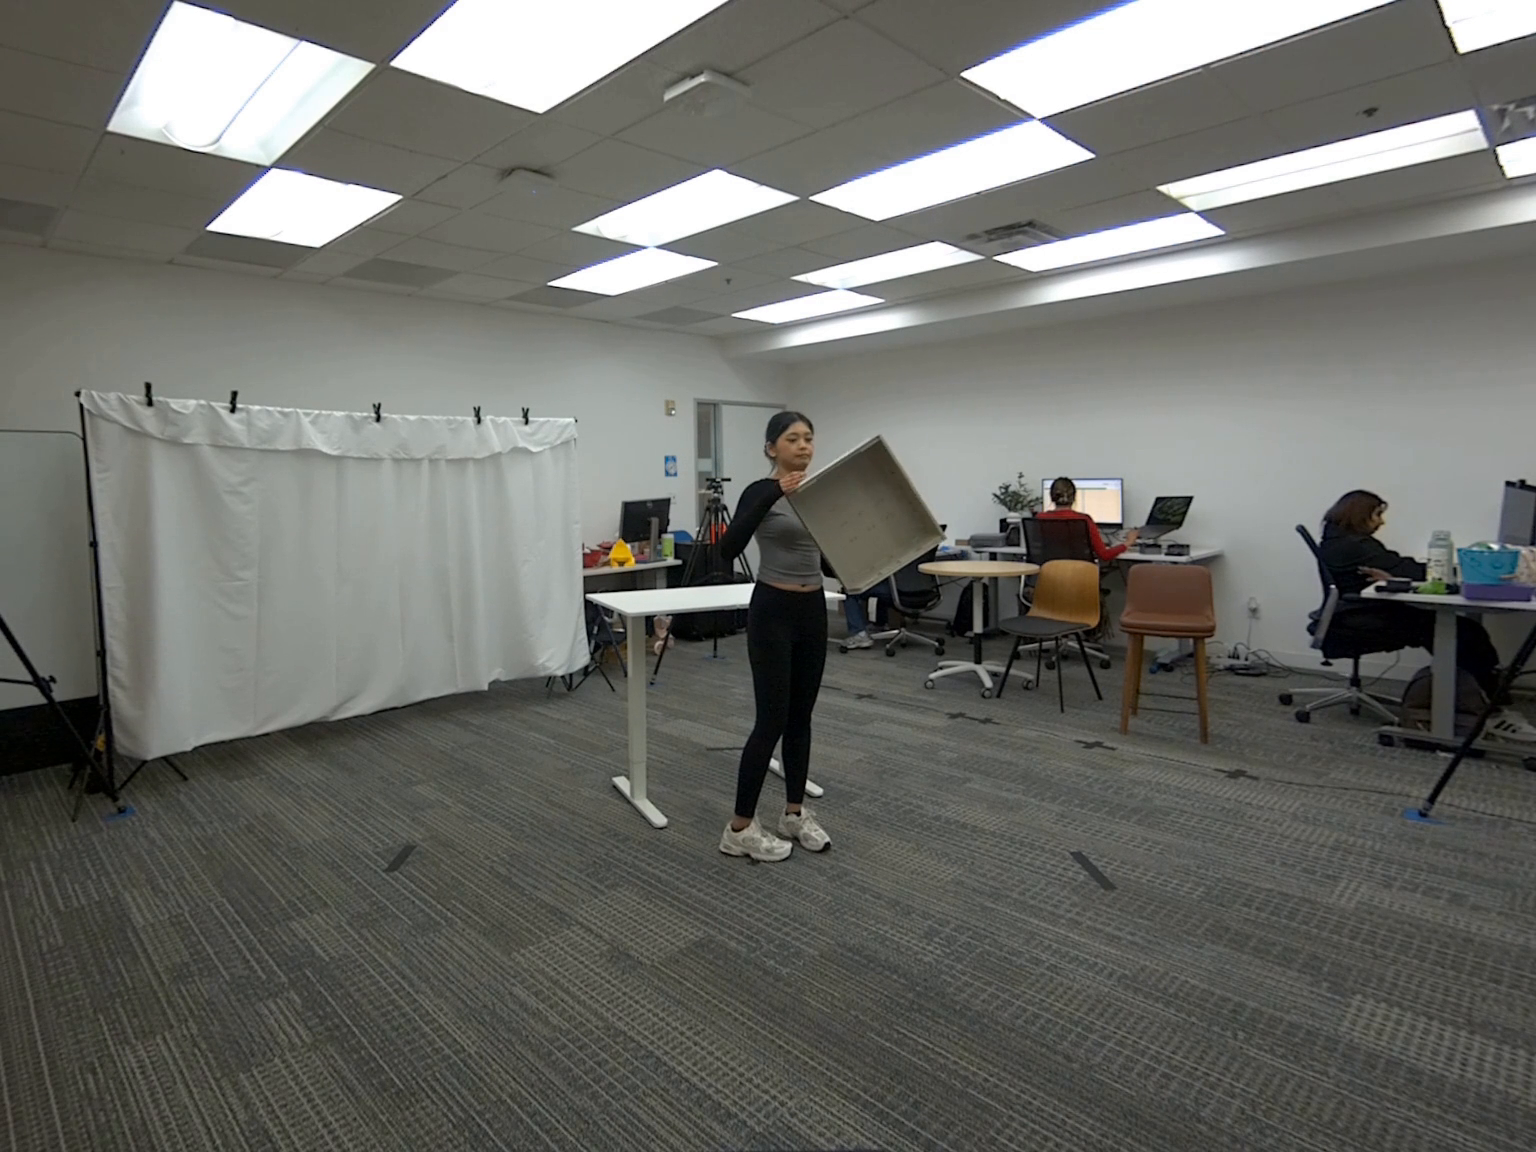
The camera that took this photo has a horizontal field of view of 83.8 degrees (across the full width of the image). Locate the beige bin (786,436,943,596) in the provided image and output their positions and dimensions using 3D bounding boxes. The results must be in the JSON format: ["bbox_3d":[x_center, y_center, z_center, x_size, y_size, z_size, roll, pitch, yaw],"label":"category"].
[{"bbox_3d":[0.325,-0.207,2.959,0.377,0.420,0.190,-34,5,3],"label":"beige bin"}]
